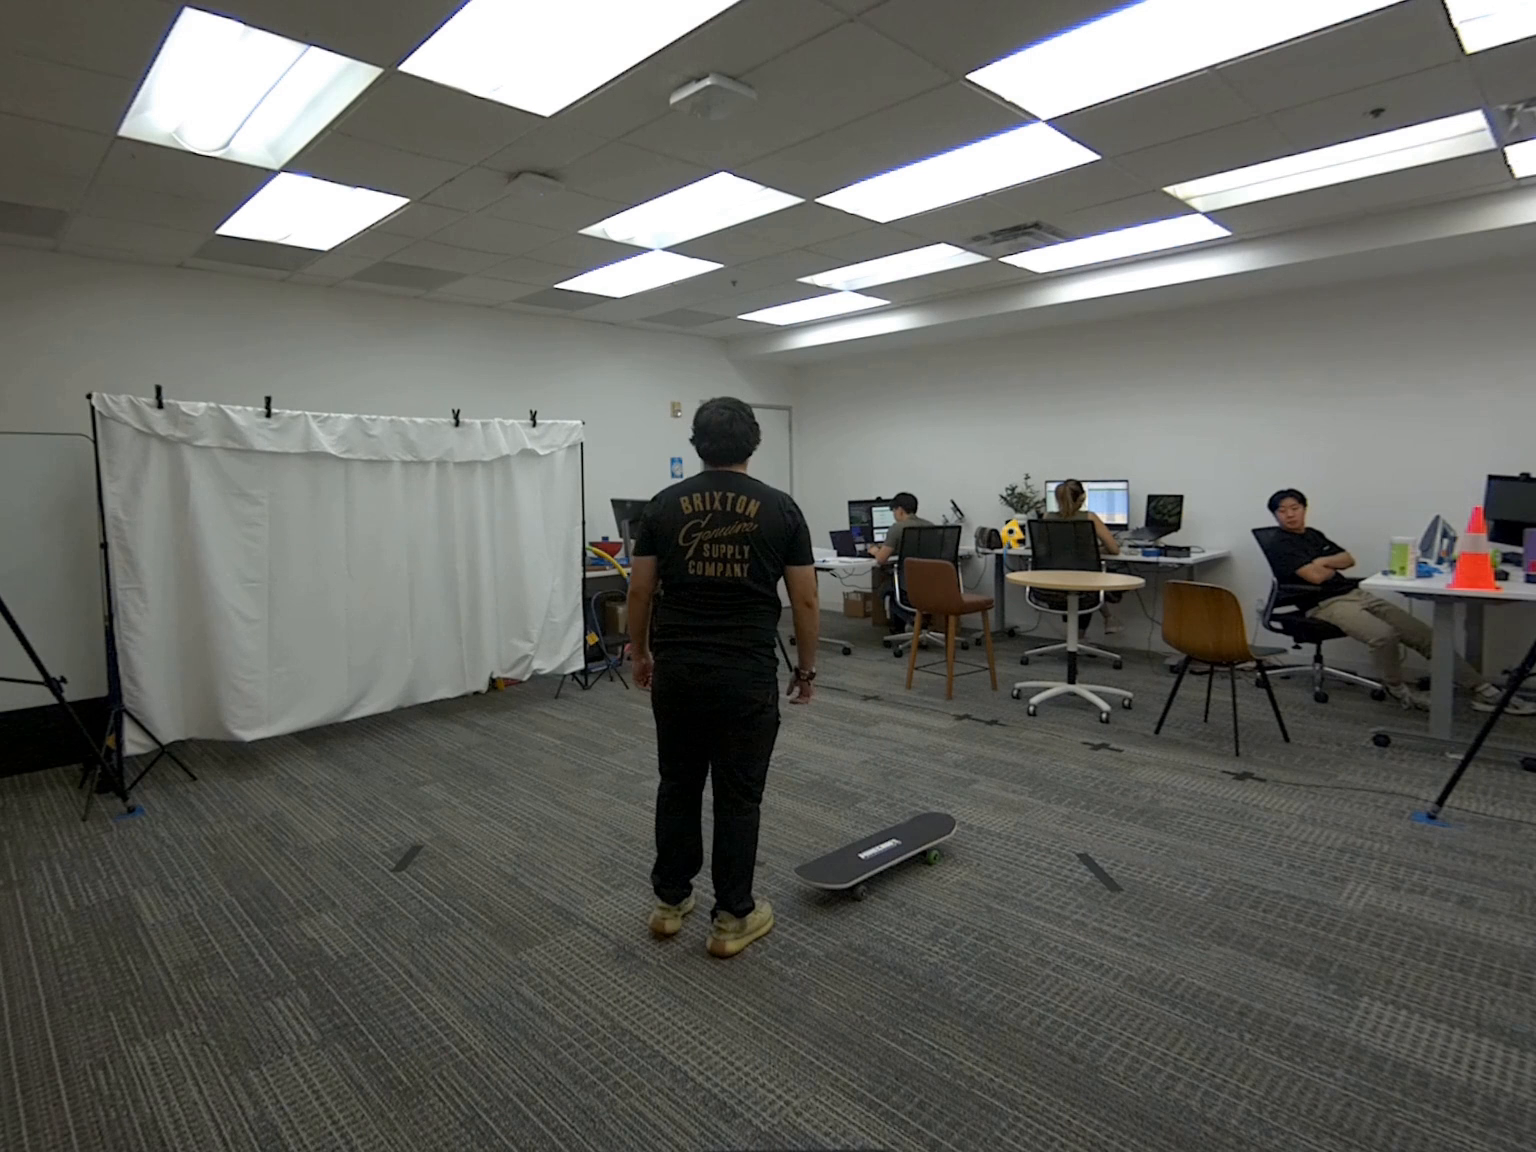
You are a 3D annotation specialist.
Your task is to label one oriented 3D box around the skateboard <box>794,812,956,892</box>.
[{"bbox_3d":[0.398,0.994,3.012,0.765,0.110,0.199,-7,8,-42],"label":"skateboard"}]
